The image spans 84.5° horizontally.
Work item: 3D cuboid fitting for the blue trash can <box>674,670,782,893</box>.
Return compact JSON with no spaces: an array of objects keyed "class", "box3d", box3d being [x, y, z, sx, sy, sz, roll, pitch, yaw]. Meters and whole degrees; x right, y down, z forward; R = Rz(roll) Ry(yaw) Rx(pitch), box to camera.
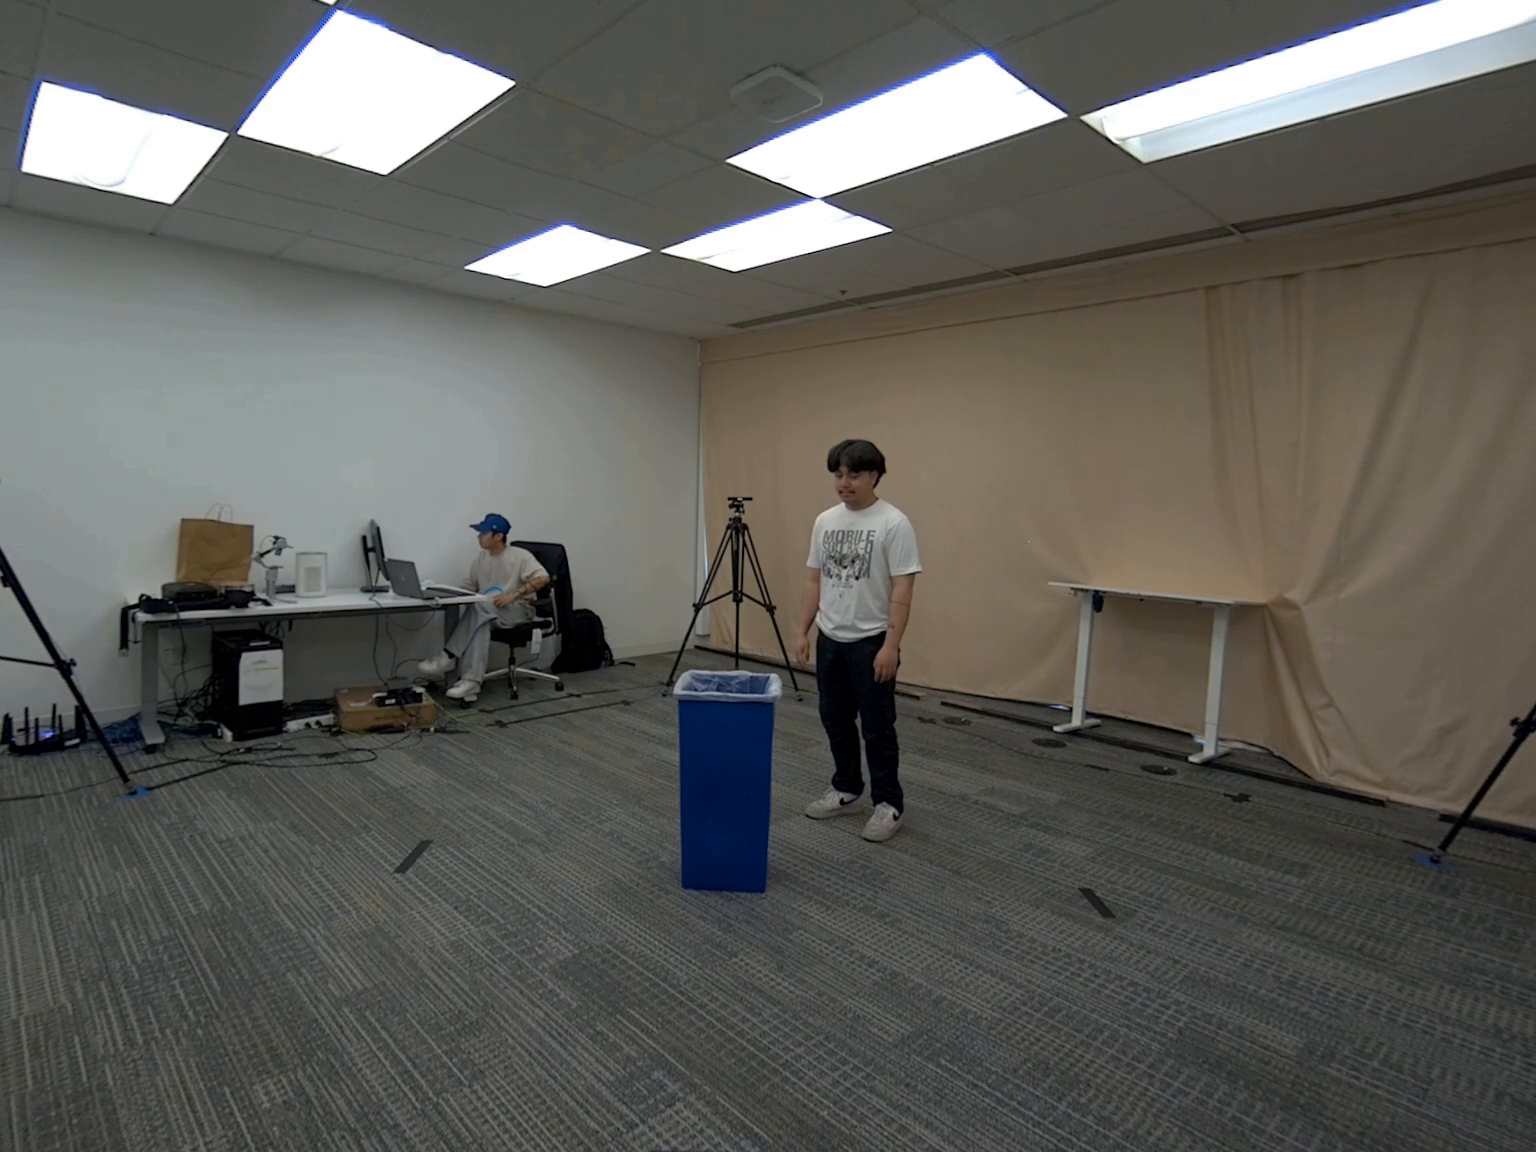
[{"class":"blue trash can","box3d":[-0.161,0.750,3.114,0.375,0.712,0.378,2,3,3]}]
